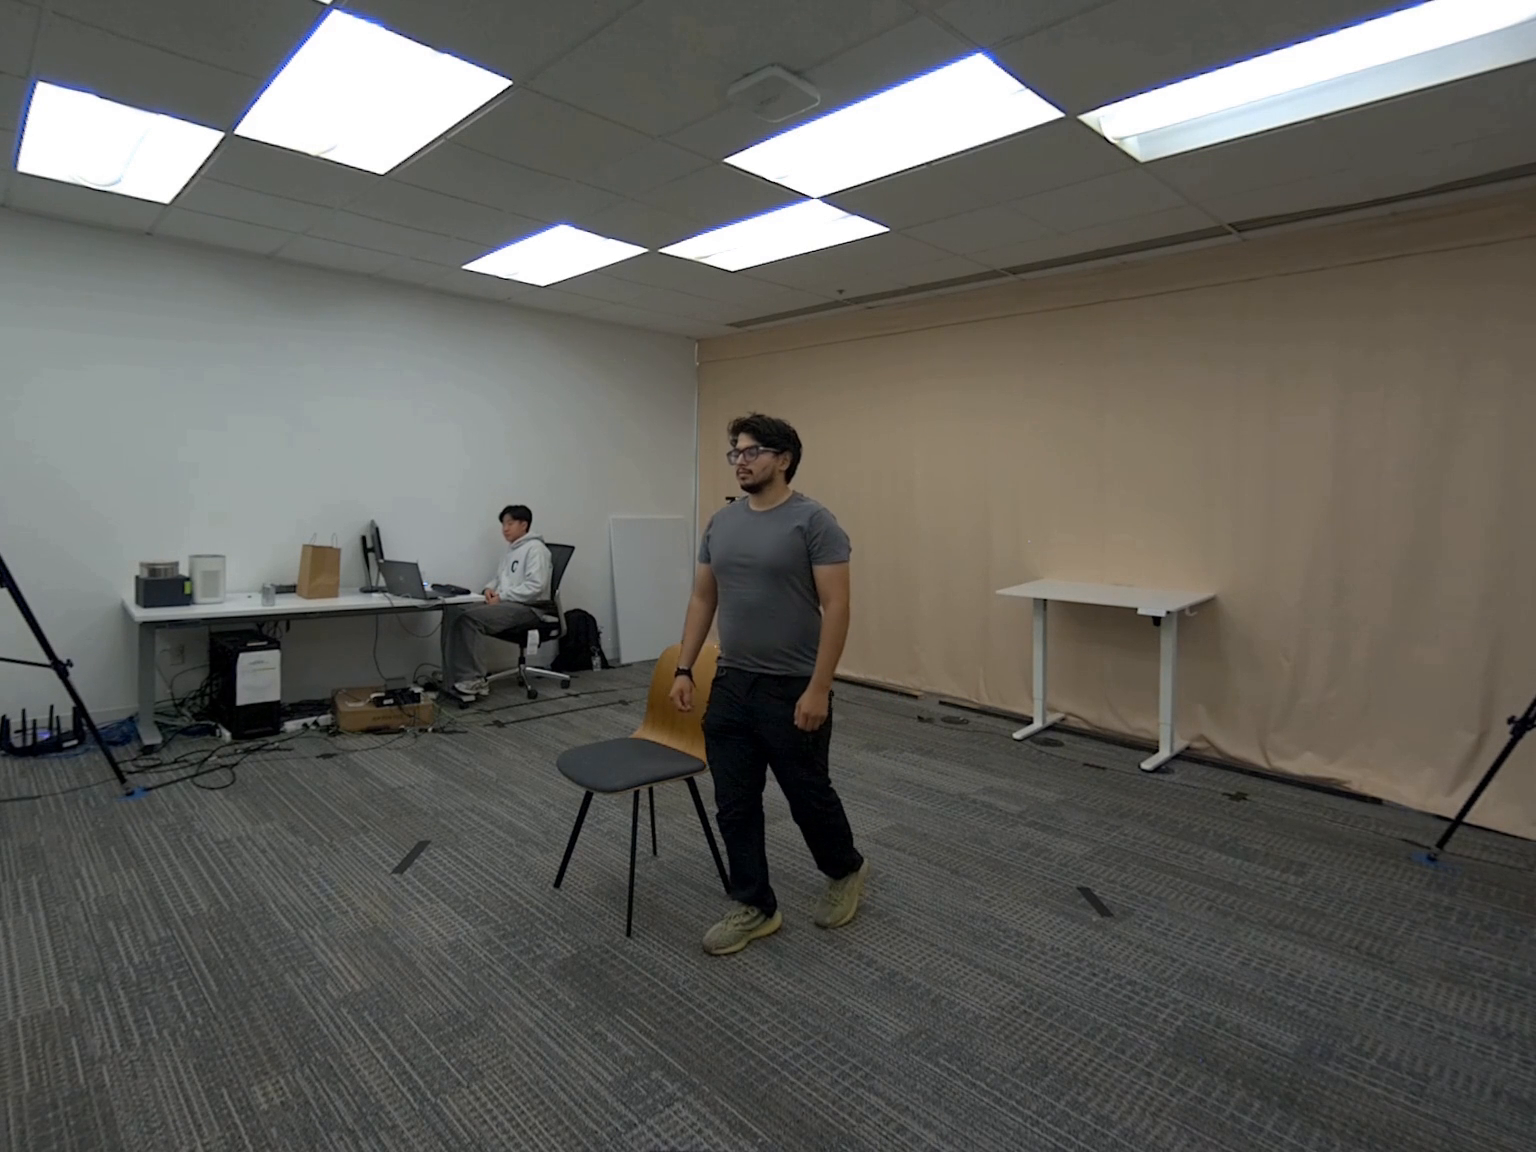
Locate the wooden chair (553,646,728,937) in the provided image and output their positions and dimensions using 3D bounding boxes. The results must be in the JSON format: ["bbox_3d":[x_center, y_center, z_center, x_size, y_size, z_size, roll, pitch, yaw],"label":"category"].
[{"bbox_3d":[-0.443,0.690,2.935,0.510,0.877,0.490,4,1,-43],"label":"wooden chair"}]
